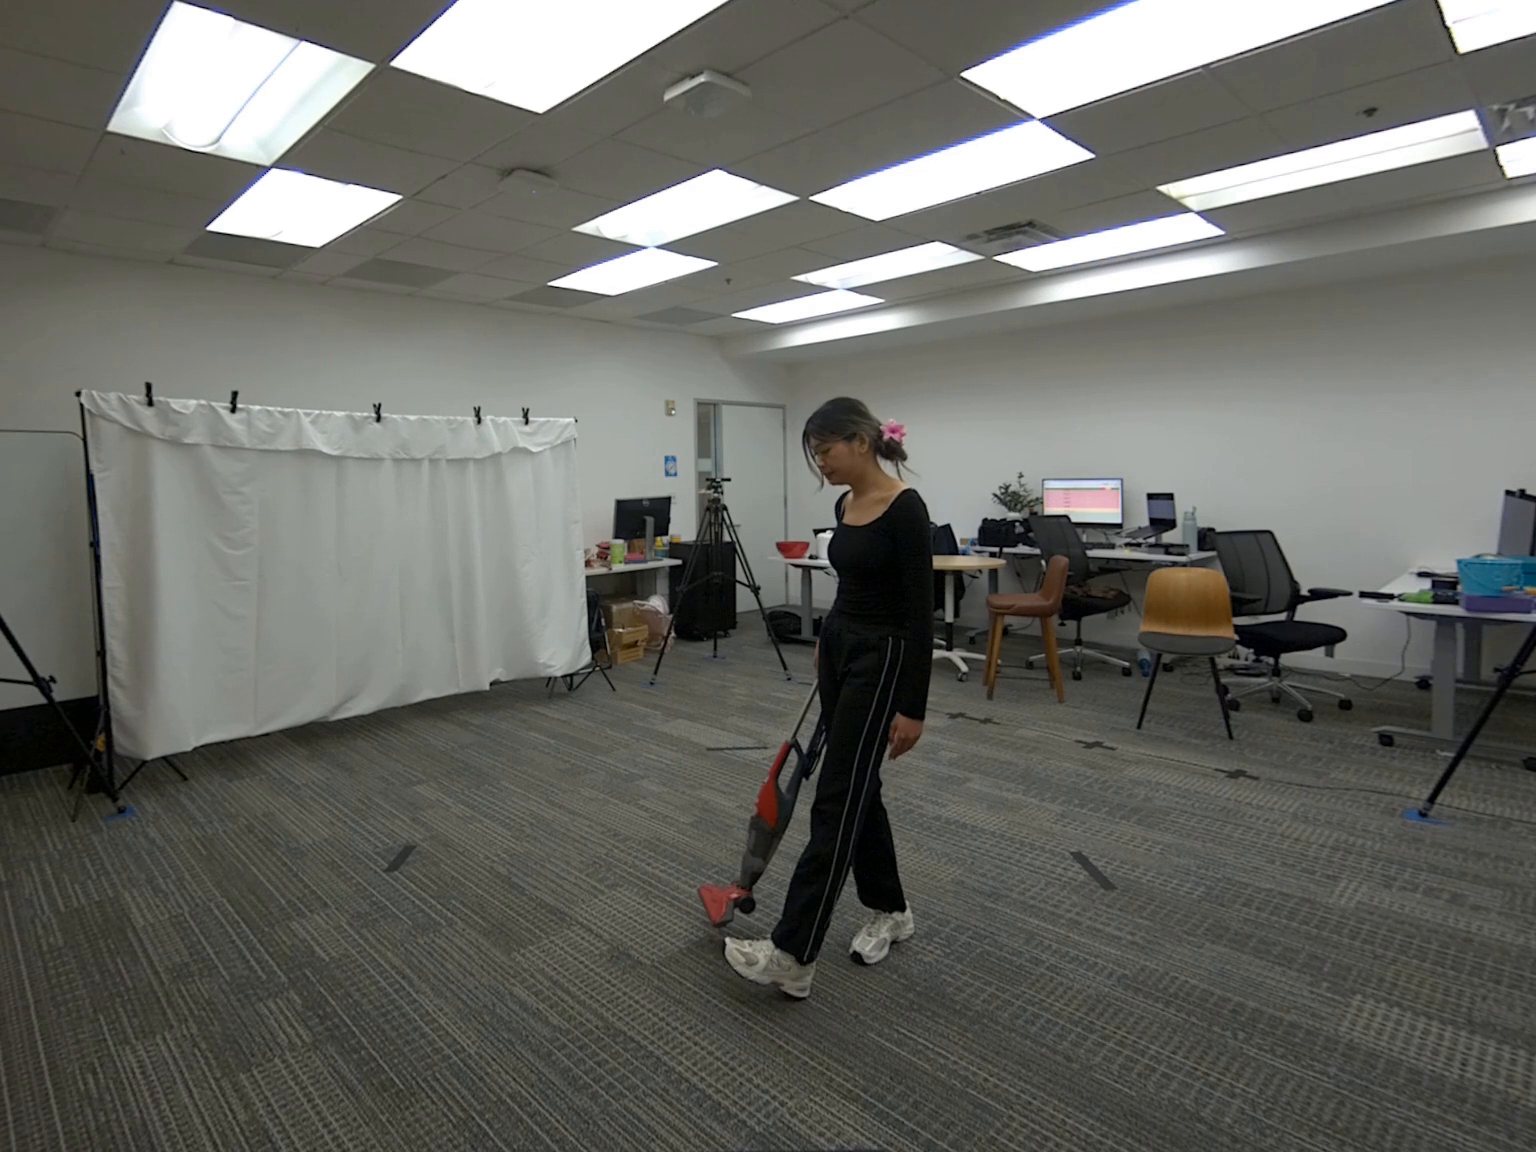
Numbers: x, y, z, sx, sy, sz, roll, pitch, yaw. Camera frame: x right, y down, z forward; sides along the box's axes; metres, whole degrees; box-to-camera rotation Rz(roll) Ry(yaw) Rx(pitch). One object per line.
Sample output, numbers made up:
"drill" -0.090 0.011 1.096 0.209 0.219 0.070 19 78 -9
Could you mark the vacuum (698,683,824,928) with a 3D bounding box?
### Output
"vacuum" 0.098 0.541 2.646 0.141 1.052 0.257 27 -6 -17
